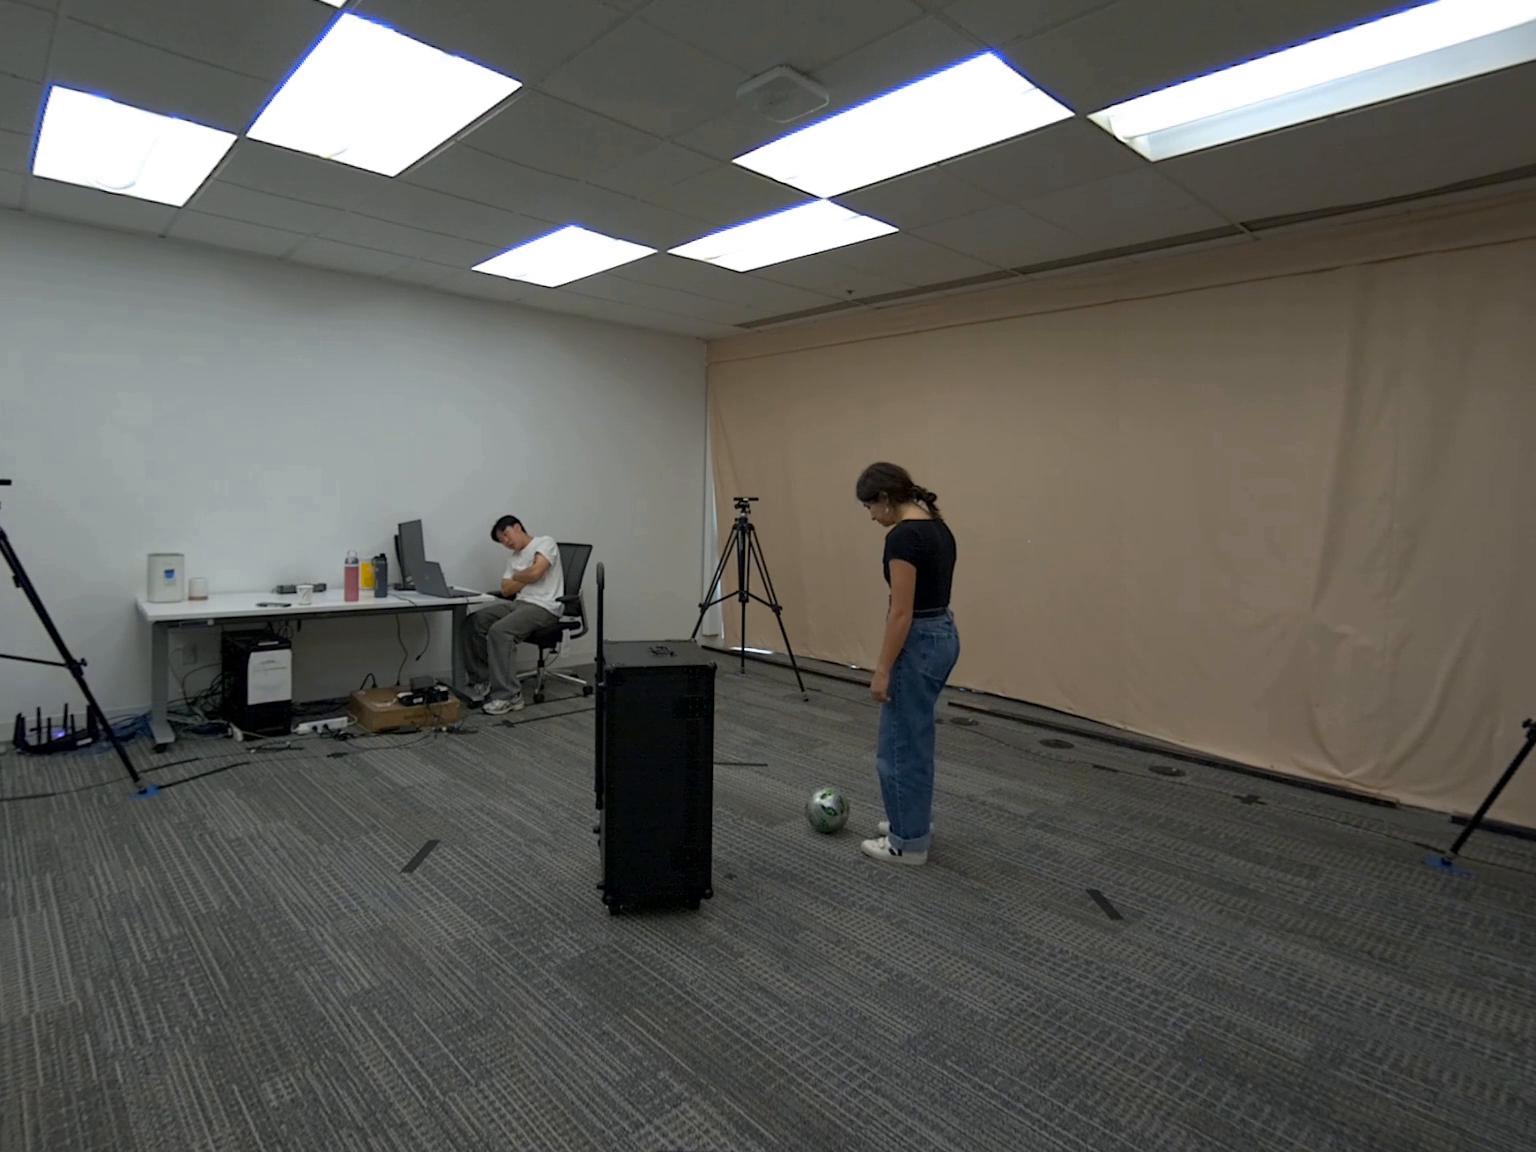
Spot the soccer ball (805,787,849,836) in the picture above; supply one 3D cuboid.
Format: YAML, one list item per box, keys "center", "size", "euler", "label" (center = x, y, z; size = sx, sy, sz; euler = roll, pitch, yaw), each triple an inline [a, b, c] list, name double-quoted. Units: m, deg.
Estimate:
- center: [0.242, 0.981, 3.557]
  size: [0.187, 0.187, 0.188]
  euler: [1, 4, -1]
  label: "soccer ball"
